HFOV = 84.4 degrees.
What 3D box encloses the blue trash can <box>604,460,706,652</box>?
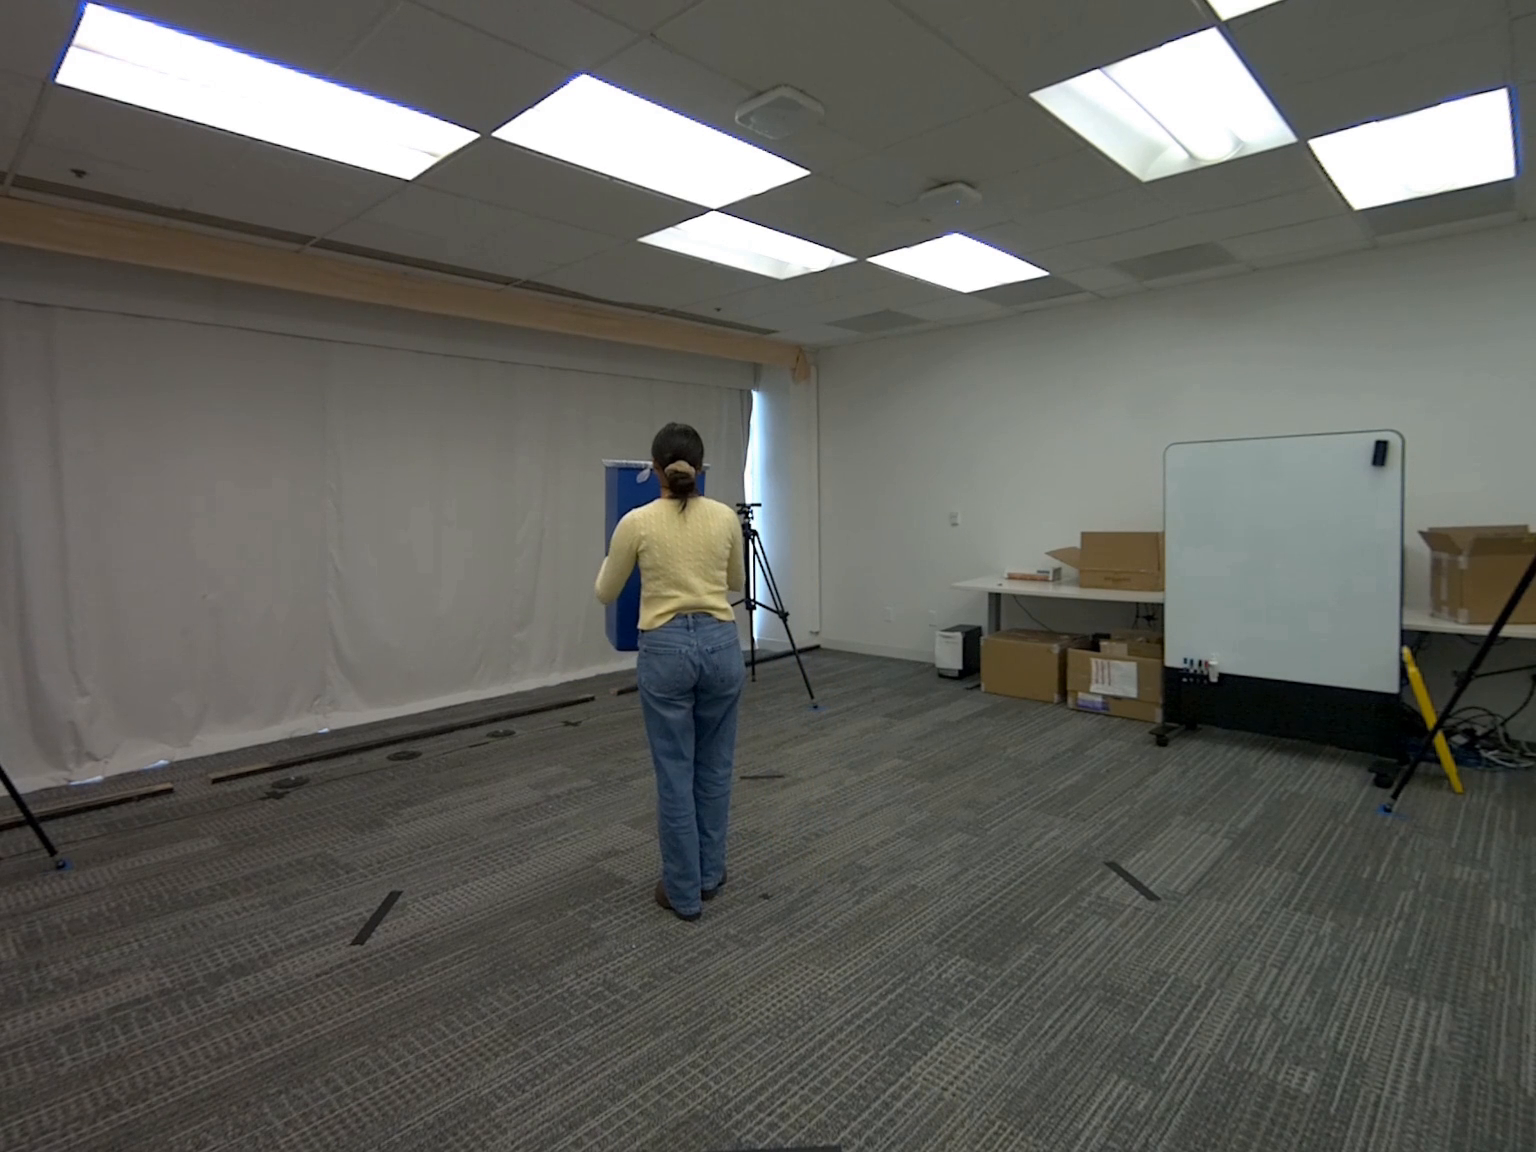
[{"bbox_3d":[-0.458,-0.096,3.311,0.371,0.711,0.382,1,7,-17],"label":"blue trash can"}]
